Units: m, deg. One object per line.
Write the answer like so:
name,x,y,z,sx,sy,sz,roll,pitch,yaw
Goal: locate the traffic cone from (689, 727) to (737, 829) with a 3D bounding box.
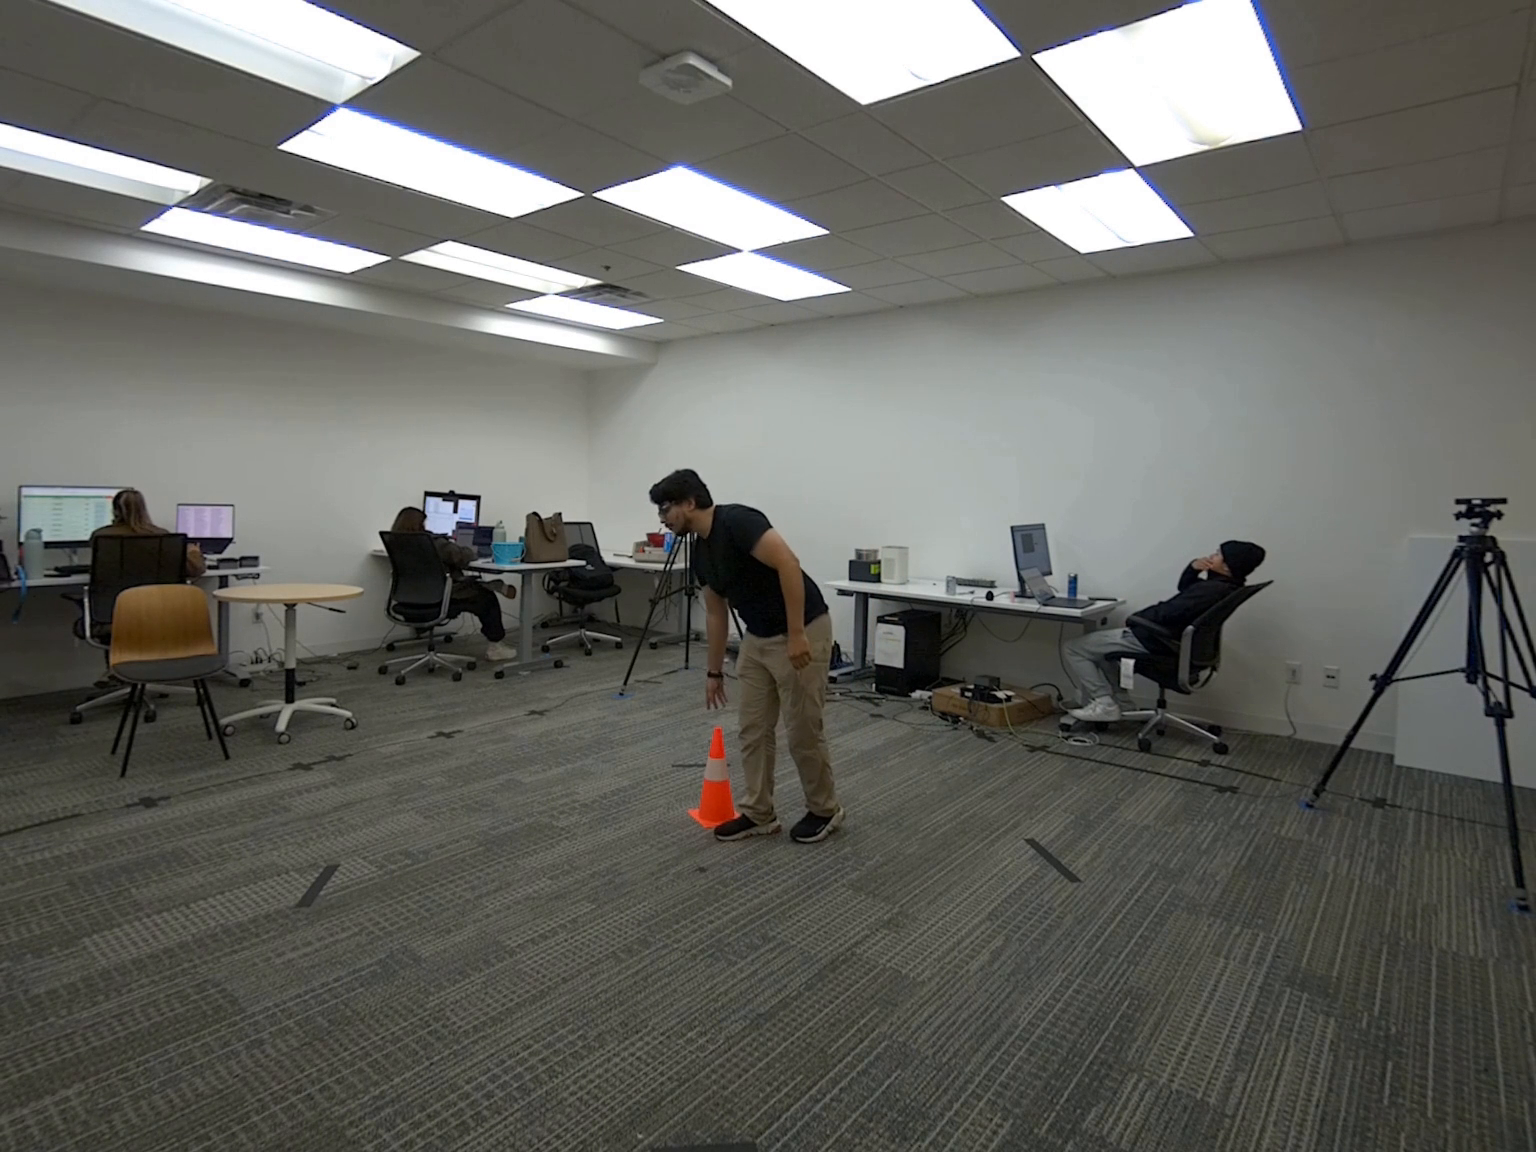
traffic cone,-0.225,0.837,3.620,0.200,0.383,0.209,1,3,-24
